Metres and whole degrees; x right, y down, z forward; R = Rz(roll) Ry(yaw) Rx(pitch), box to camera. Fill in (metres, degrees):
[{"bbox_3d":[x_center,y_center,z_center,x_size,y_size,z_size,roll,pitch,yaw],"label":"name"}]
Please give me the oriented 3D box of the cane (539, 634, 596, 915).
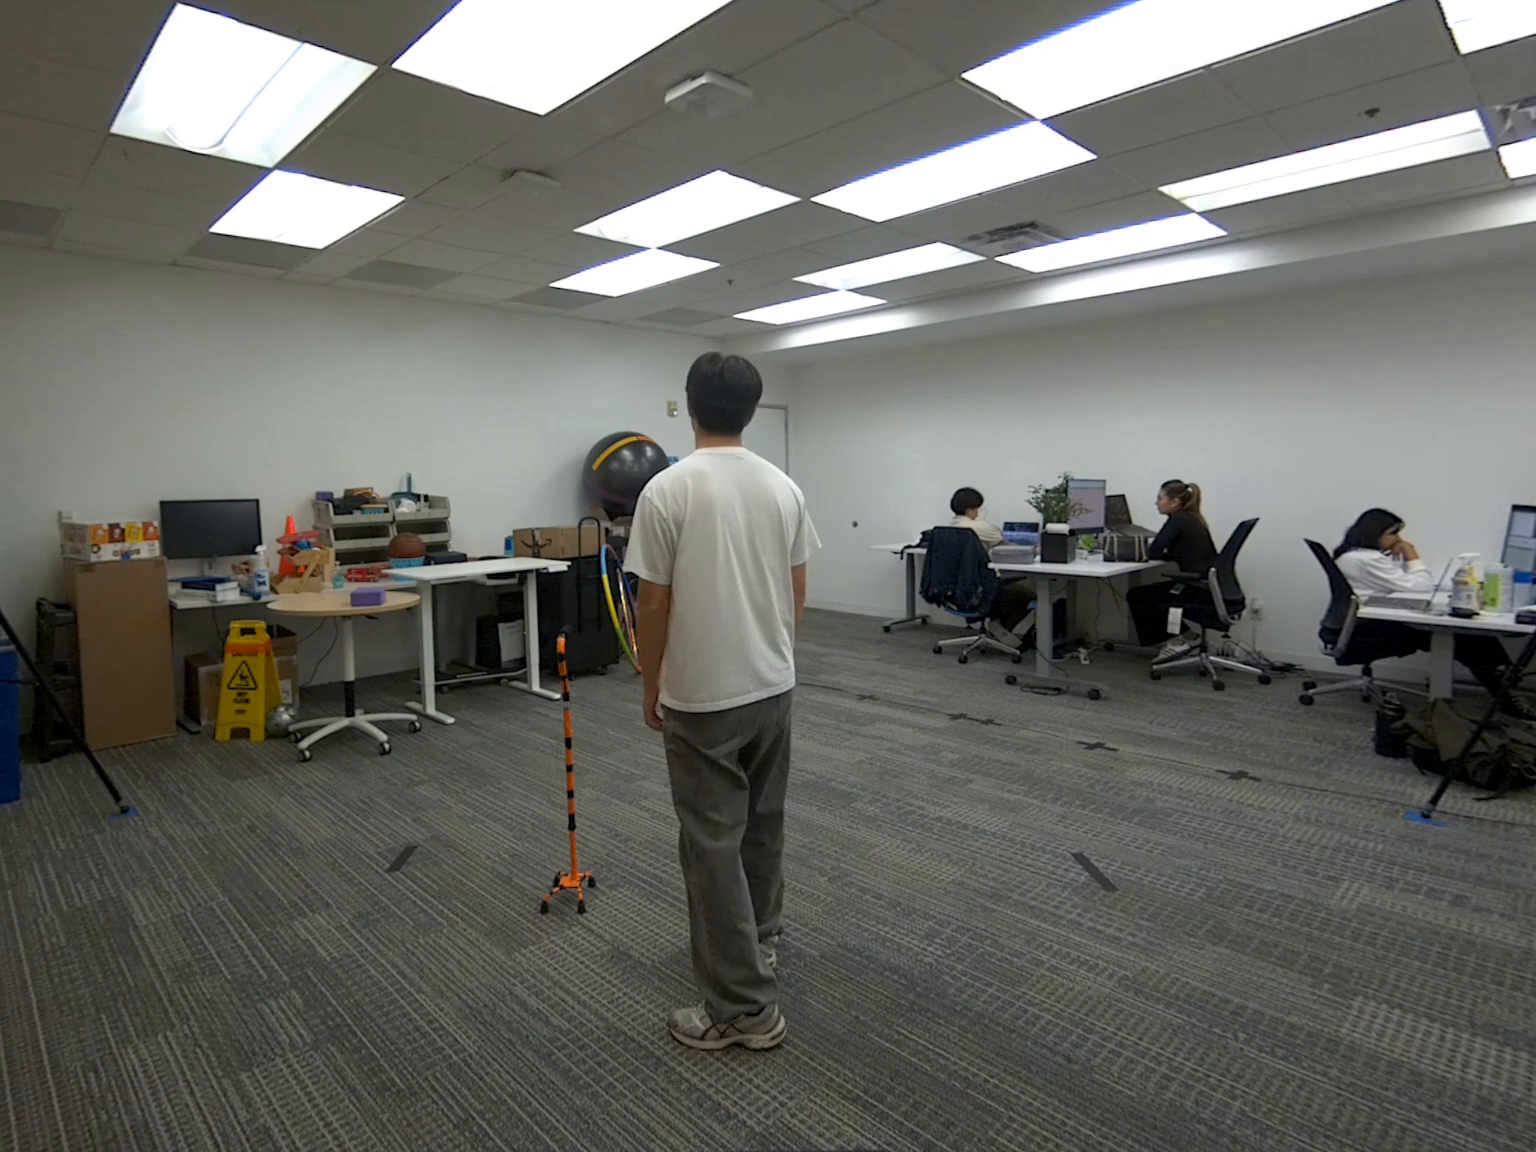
[{"bbox_3d":[-0.676,0.634,2.842,0.152,0.904,0.207,-1,4,0],"label":"cane"}]
